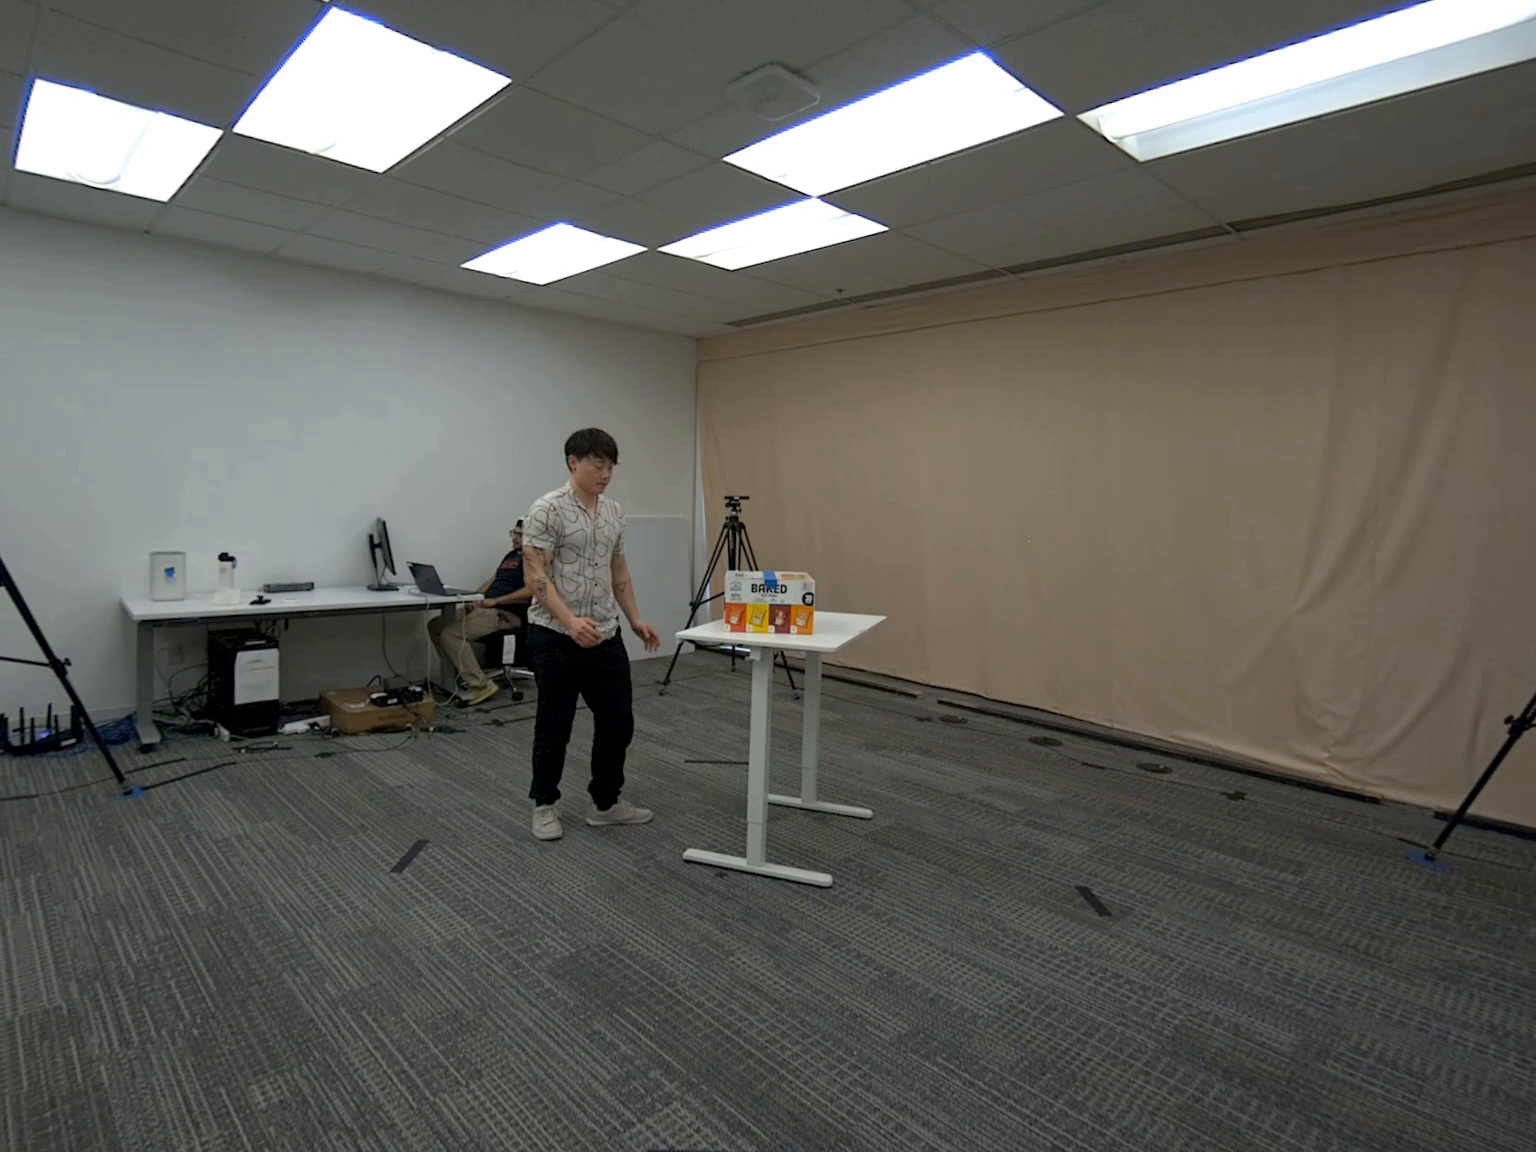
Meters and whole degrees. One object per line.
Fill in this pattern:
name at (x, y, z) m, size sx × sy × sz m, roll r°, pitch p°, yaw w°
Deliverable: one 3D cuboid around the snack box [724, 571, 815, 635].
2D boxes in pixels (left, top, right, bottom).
snack box at (-0.012, 0.098, 3.362) m, size 0.340 × 0.205 × 0.406 m, roll 2°, pitch 4°, yaw 0°
